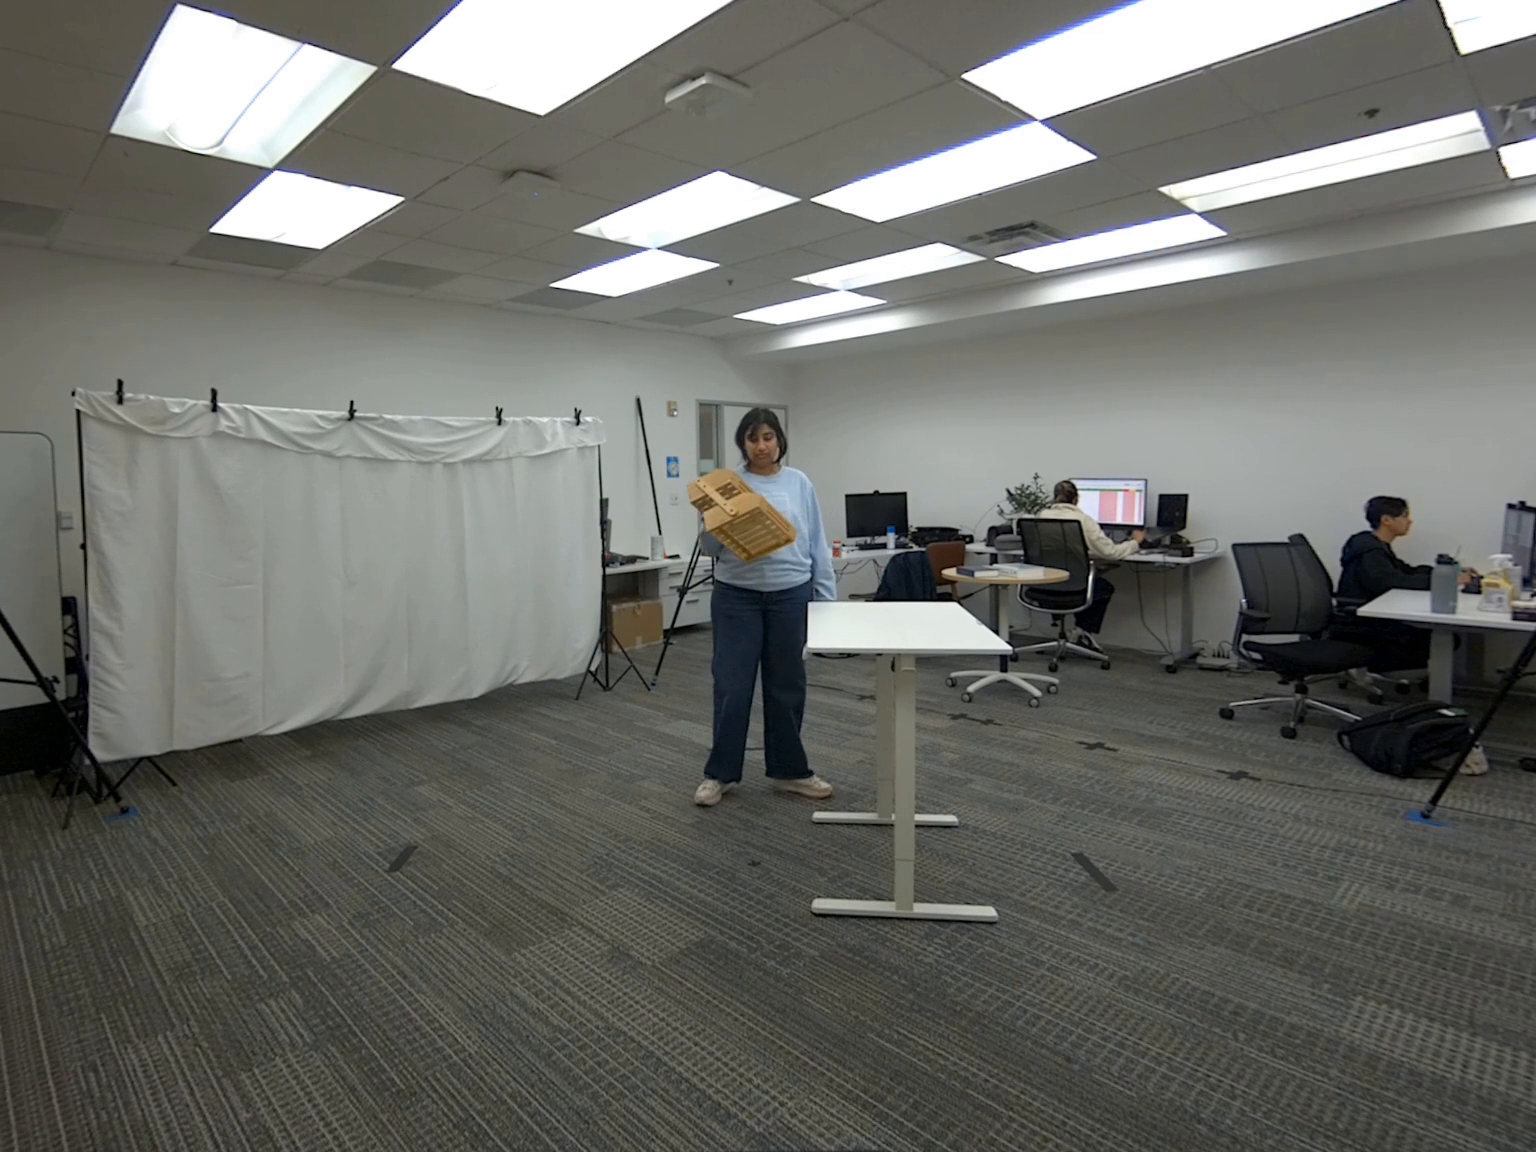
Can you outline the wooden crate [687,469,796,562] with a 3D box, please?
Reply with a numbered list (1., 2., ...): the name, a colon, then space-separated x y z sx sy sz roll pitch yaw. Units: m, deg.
1. wooden crate: -0.110 -0.256 3.396 0.305 0.282 0.312 -26 -36 19
